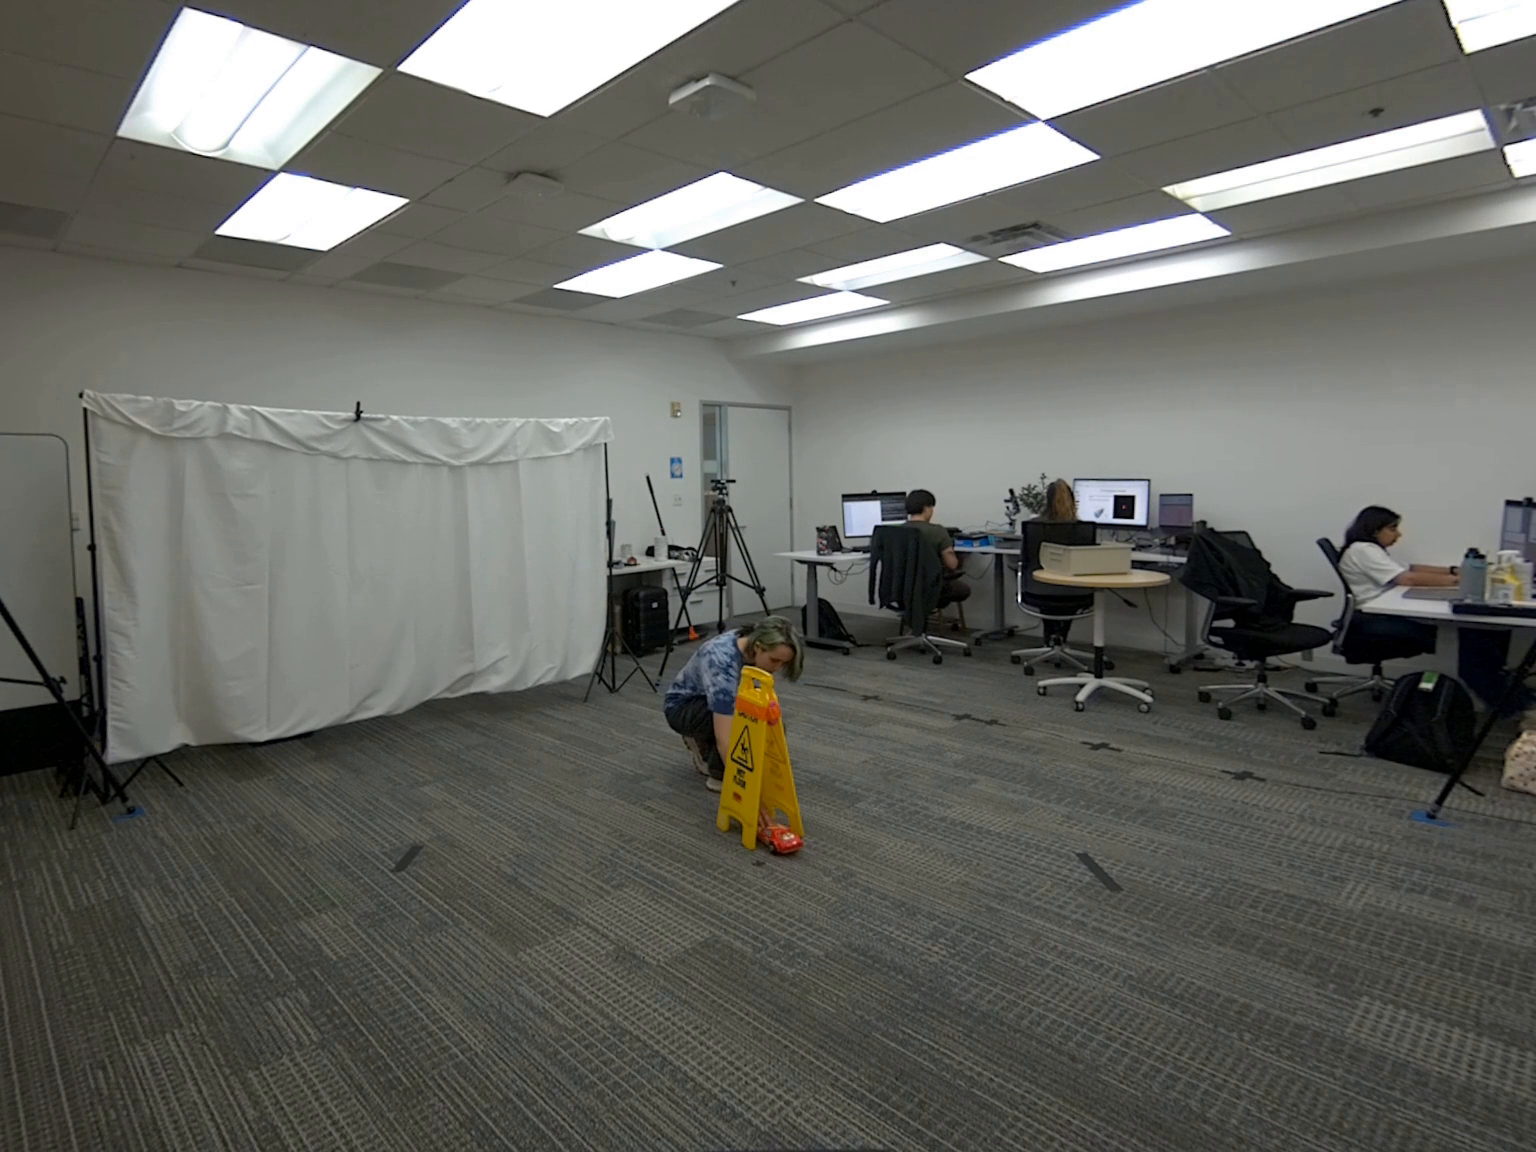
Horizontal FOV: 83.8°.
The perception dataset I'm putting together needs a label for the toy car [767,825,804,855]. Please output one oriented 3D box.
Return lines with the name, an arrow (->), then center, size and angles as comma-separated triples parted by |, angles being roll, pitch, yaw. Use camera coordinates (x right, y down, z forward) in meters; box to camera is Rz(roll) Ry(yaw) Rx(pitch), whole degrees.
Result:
toy car -> 0.037, 1.004, 3.251 | 0.127, 0.084, 0.258 | -3, -7, -26
